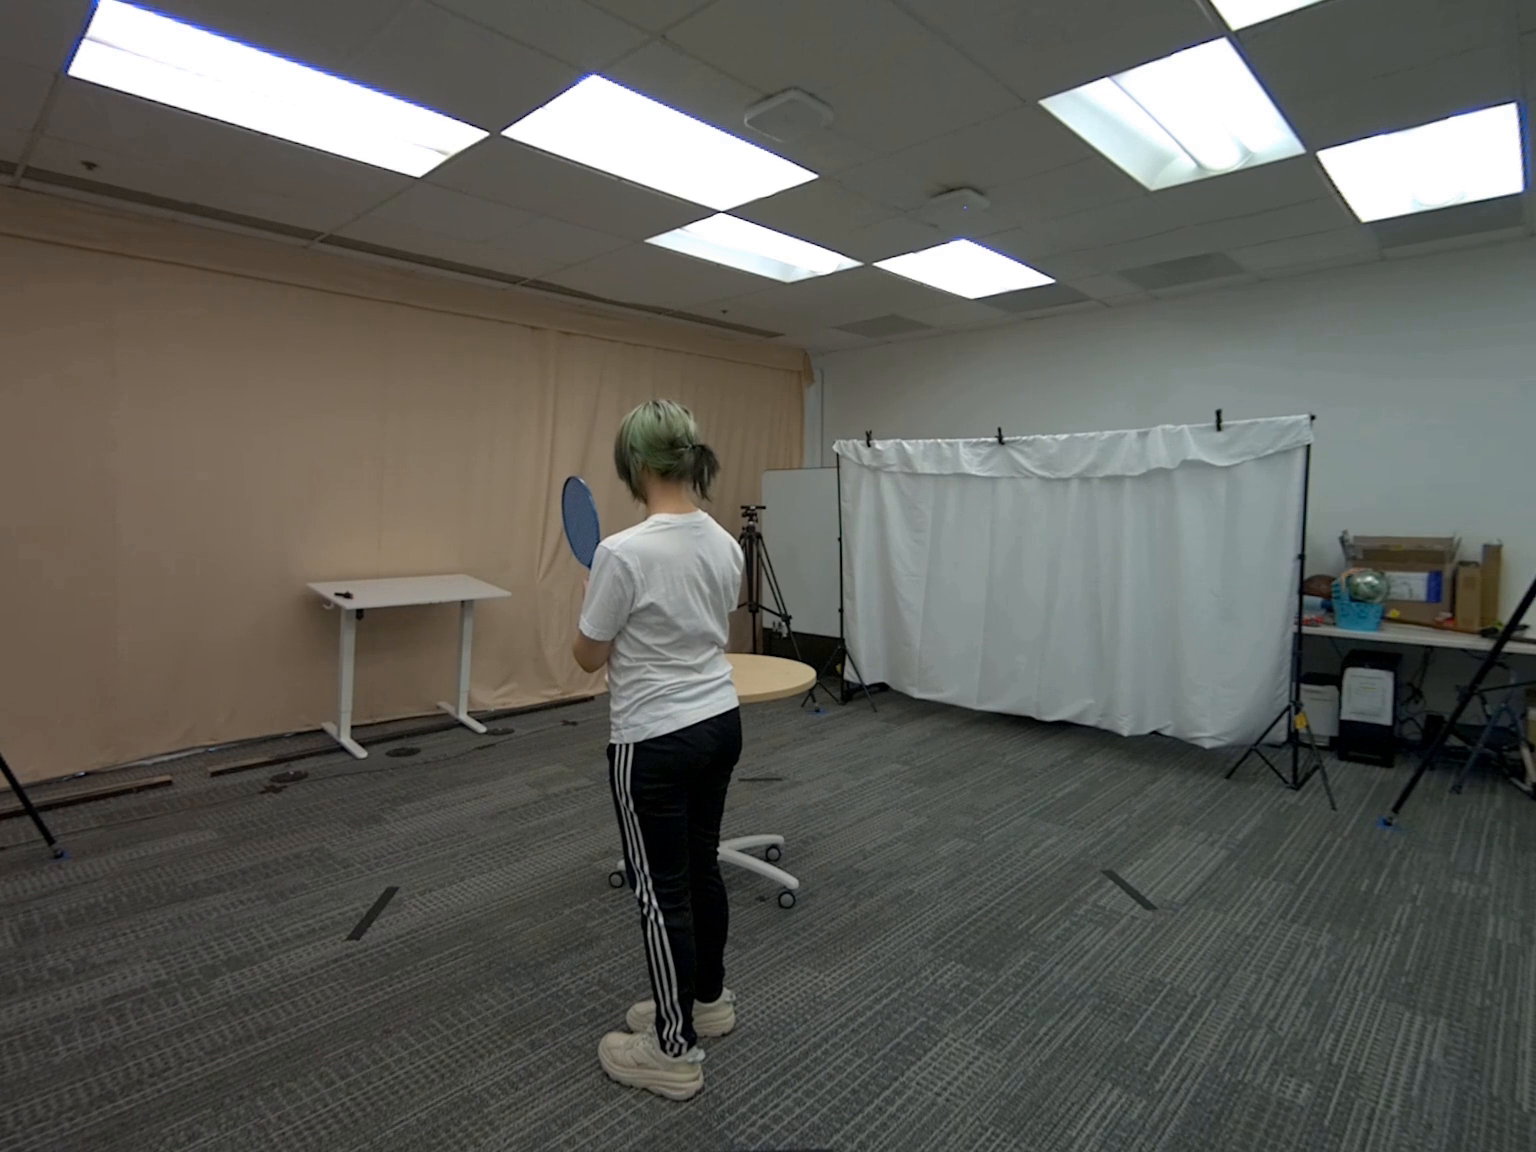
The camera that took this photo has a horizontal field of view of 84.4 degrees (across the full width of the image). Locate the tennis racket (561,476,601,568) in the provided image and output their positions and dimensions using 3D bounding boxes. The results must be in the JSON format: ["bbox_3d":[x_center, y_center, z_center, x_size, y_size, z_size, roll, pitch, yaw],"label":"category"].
[{"bbox_3d":[-0.495,-0.085,2.329,0.031,0.443,0.214,-8,-30,-35],"label":"tennis racket"}]
